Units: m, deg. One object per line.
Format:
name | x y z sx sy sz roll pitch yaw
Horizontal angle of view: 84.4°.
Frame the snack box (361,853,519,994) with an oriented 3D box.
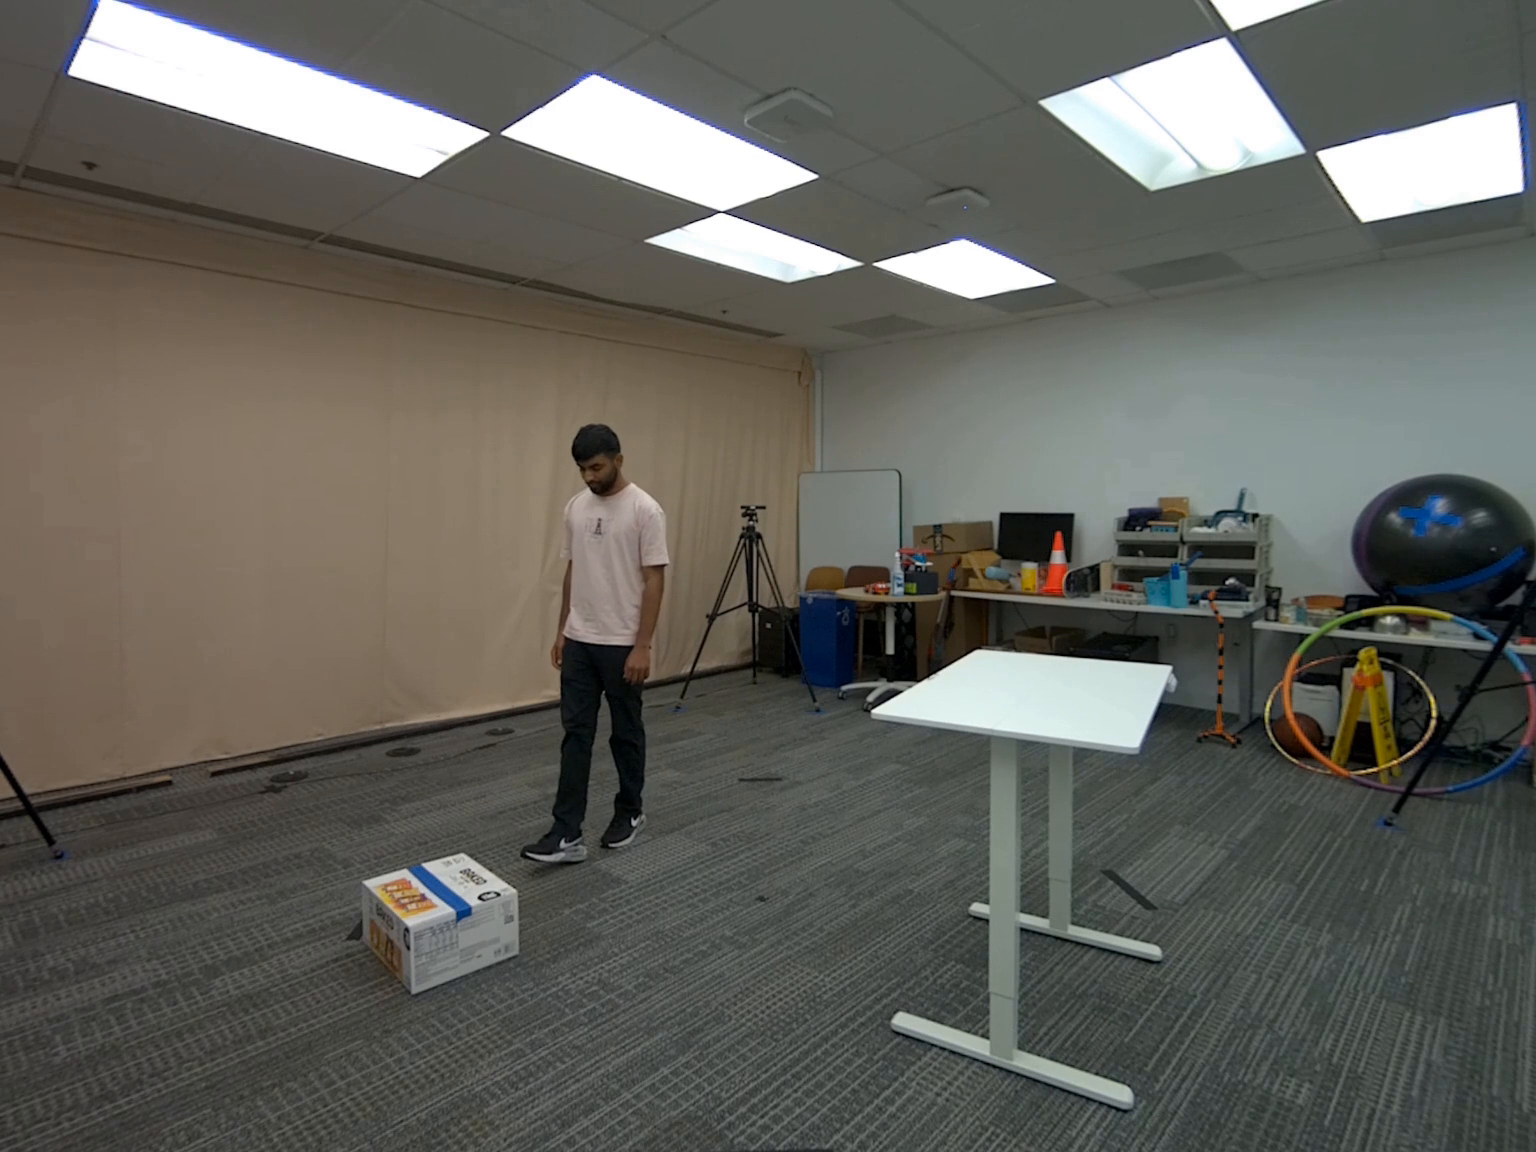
snack box | -1.042 1.083 2.648 0.330 0.205 0.418 -5 6 -42
